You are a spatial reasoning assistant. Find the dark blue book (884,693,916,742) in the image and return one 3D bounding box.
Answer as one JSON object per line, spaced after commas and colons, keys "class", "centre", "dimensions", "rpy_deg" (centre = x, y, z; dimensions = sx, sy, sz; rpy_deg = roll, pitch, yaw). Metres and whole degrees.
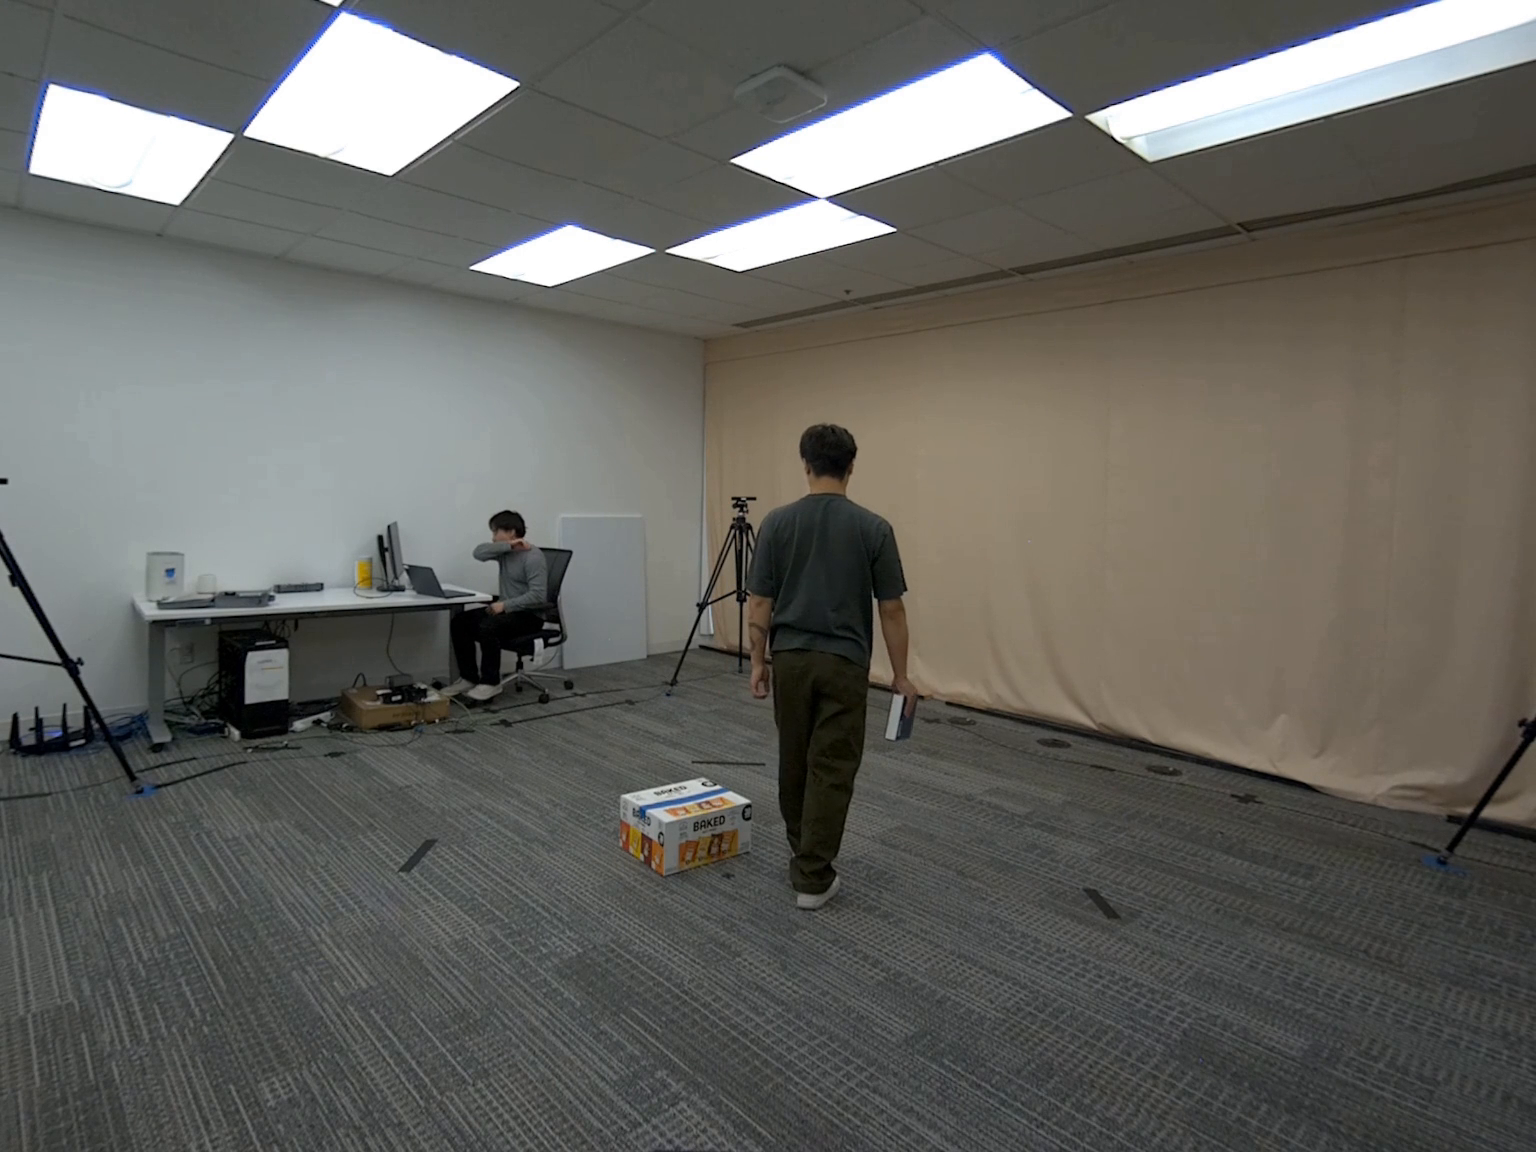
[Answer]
{"class": "dark blue book", "centre": [0.476, 0.506, 3.052], "dimensions": [0.046, 0.164, 0.239], "rpy_deg": [7, -5, 24]}
